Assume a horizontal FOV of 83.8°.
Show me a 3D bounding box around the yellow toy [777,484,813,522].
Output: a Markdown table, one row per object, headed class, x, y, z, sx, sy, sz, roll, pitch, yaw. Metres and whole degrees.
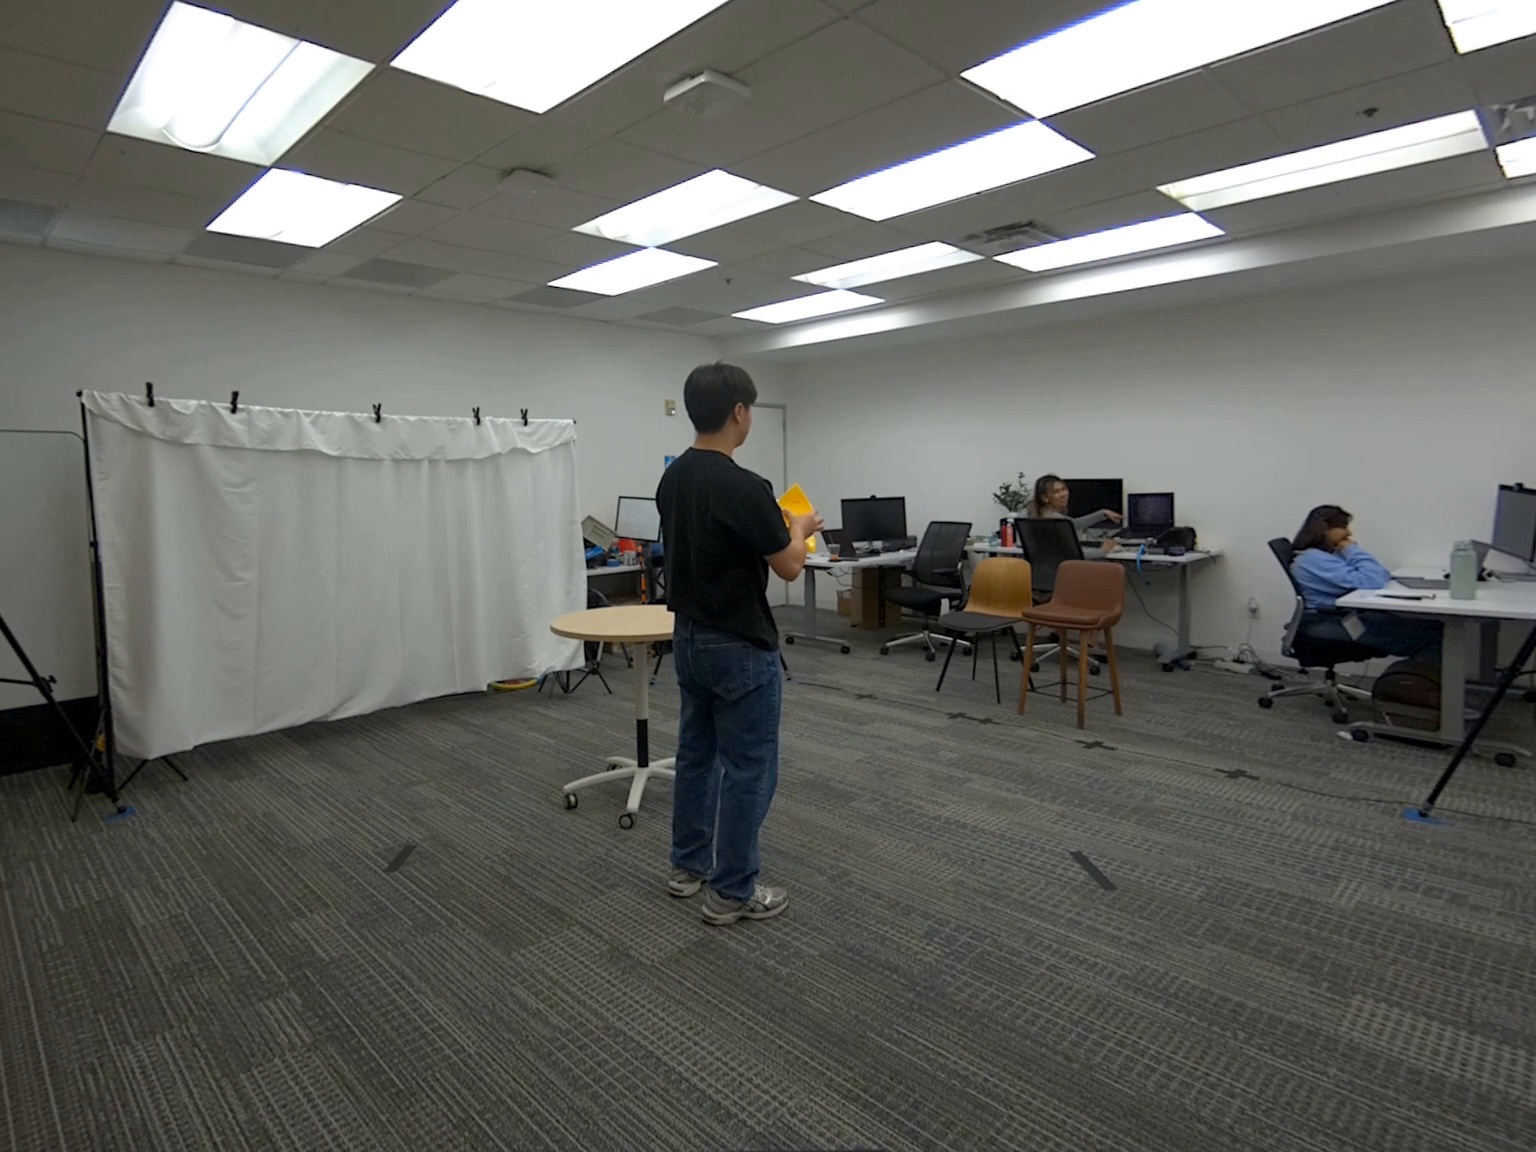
| class | x | y | z | sx | sy | sz | roll | pitch | yaw |
| --- | --- | --- | --- | --- | --- | --- | --- | --- | --- |
| yellow toy | 0.080 | -0.211 | 2.989 | 0.204 | 0.230 | 0.194 | 6 | 5 | -2 |
